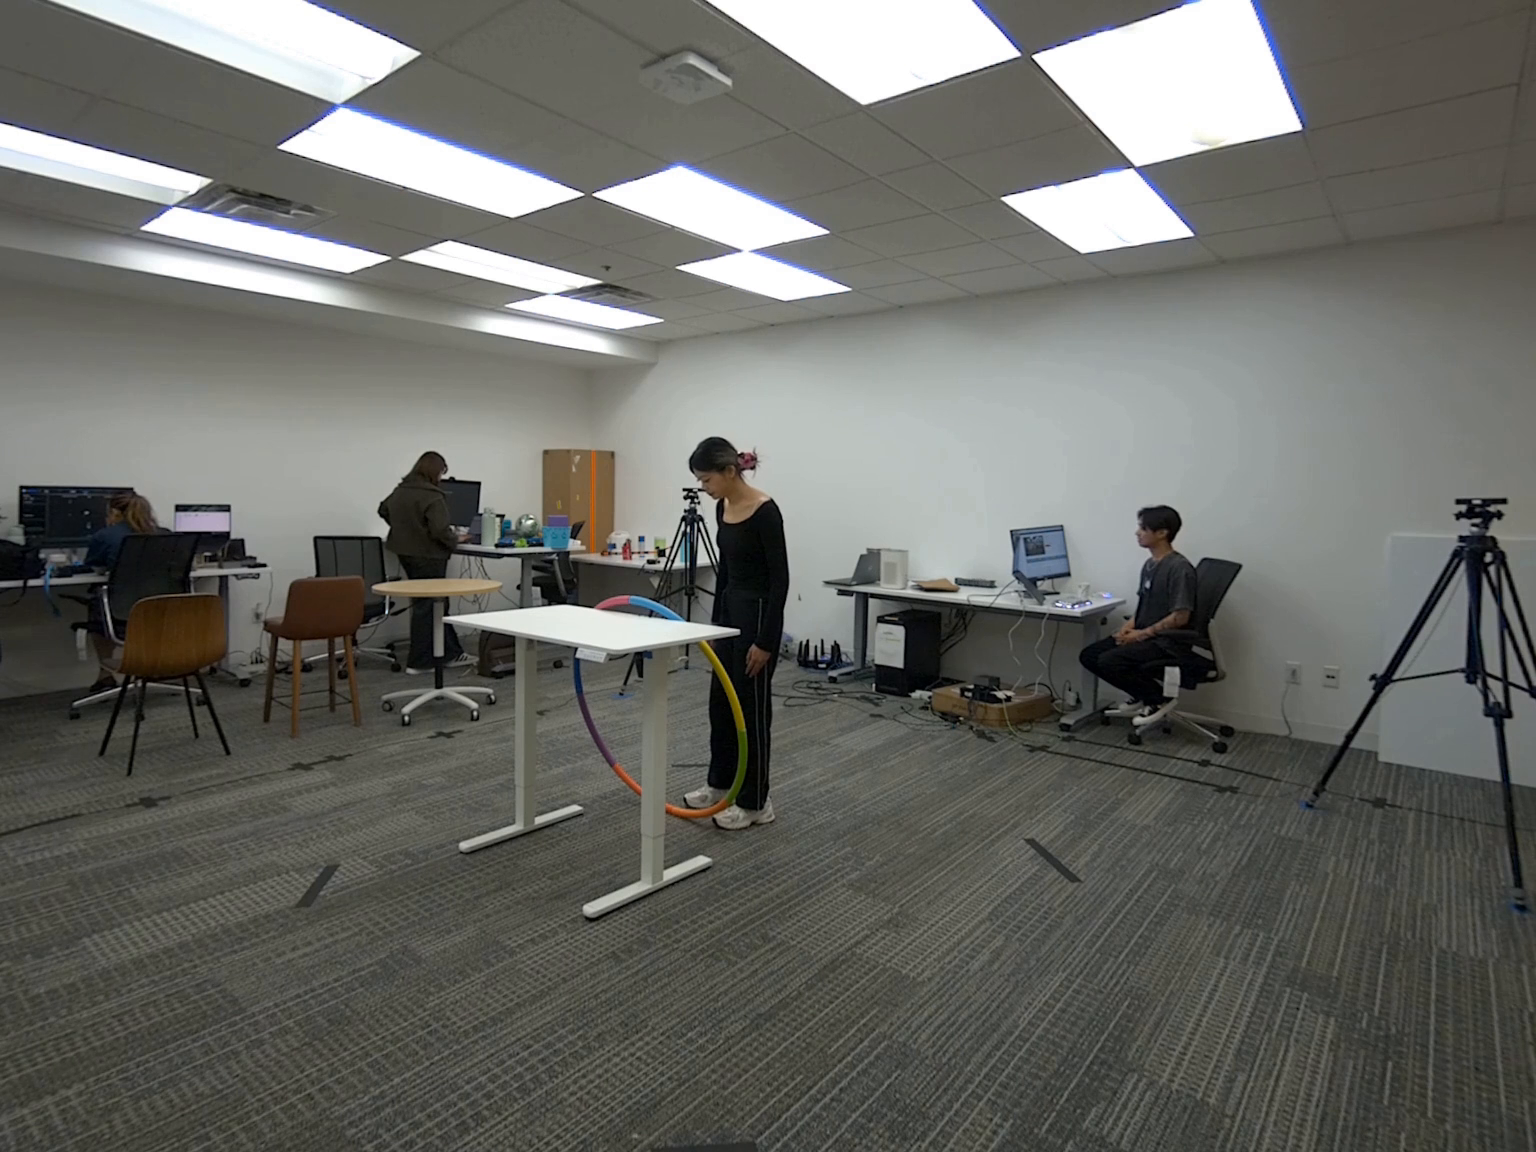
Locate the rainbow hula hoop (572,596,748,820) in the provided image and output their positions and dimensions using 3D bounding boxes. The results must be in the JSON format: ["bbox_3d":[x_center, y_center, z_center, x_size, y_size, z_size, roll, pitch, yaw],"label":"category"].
[{"bbox_3d":[-0.486,0.550,3.535,1.011,0.963,0.035,4,19,40],"label":"rainbow hula hoop"}]
